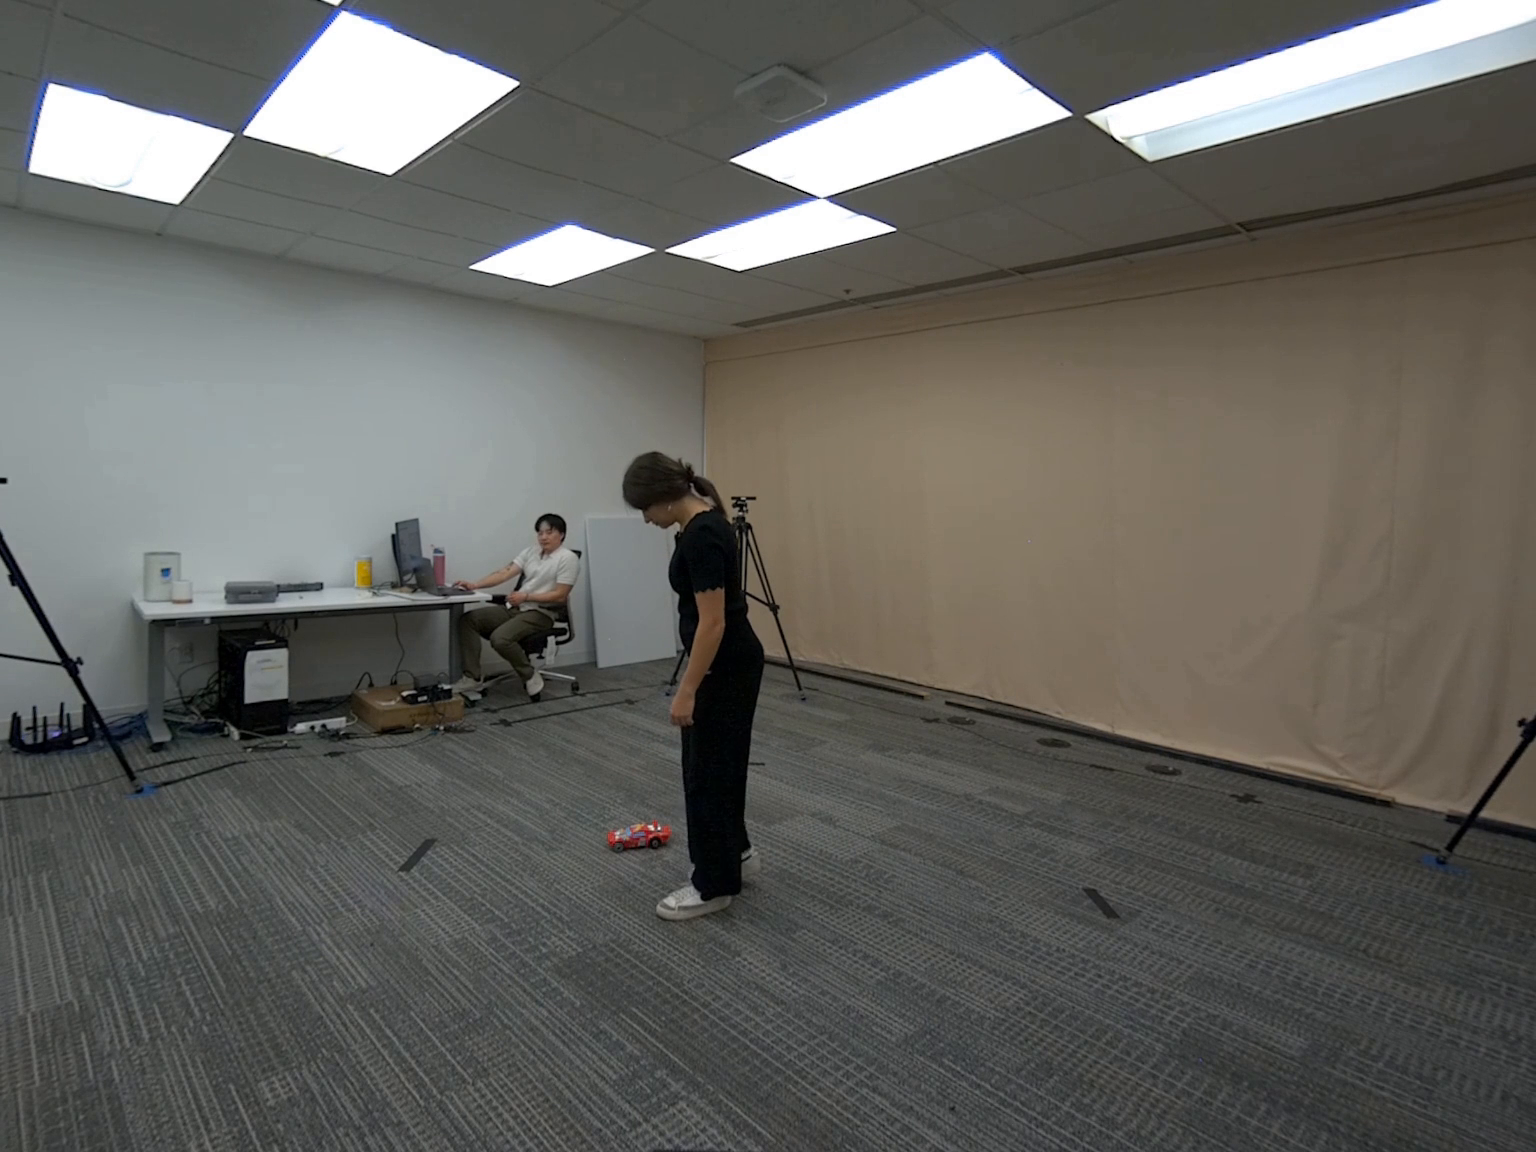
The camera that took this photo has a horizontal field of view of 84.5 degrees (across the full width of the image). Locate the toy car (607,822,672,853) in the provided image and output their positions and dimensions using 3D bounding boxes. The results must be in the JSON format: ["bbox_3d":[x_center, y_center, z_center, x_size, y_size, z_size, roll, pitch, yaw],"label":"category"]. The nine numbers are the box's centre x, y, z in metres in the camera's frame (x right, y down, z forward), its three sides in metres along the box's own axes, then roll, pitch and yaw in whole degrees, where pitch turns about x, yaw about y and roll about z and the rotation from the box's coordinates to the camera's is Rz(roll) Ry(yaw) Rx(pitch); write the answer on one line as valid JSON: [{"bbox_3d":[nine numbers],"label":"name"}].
[{"bbox_3d":[-0.521,1.043,3.361,0.252,0.083,0.132,-11,8,-16],"label":"toy car"}]
